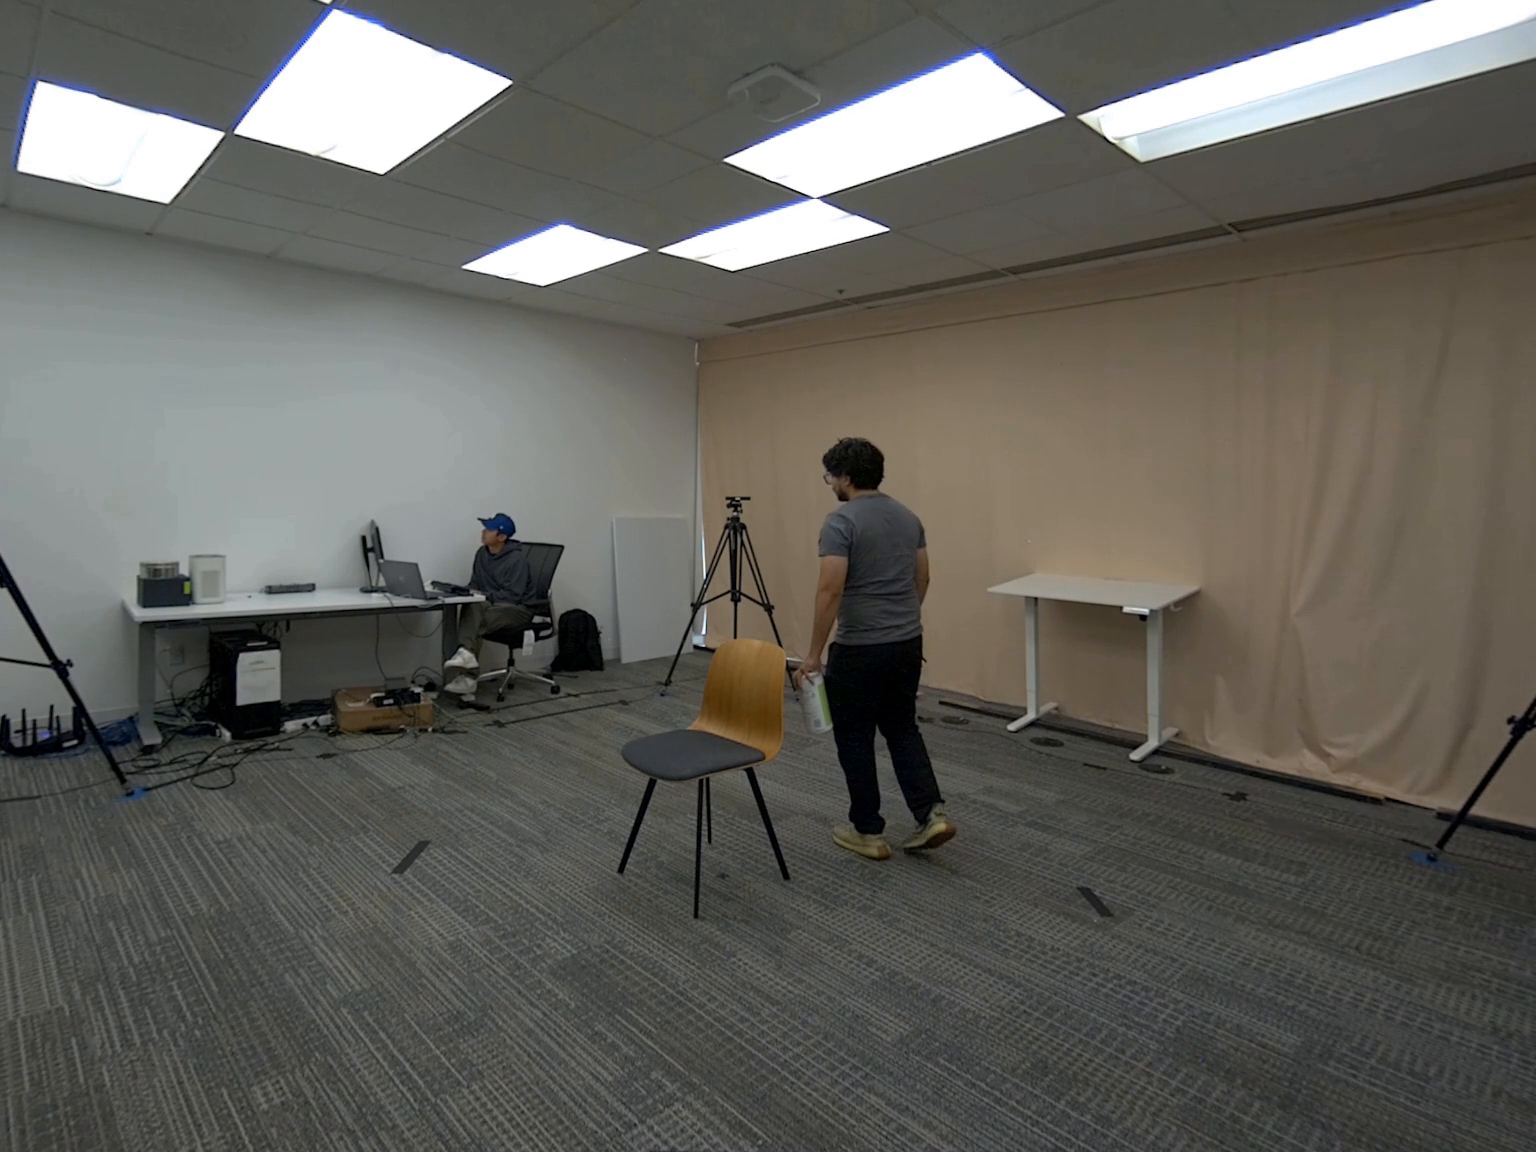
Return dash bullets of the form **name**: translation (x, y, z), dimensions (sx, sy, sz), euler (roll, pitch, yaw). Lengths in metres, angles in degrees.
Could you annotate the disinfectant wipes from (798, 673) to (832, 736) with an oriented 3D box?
- **disinfectant wipes**: translation (0.179, 0.489, 3.247), dimensions (0.118, 0.216, 0.118), euler (-12, 7, 0)
